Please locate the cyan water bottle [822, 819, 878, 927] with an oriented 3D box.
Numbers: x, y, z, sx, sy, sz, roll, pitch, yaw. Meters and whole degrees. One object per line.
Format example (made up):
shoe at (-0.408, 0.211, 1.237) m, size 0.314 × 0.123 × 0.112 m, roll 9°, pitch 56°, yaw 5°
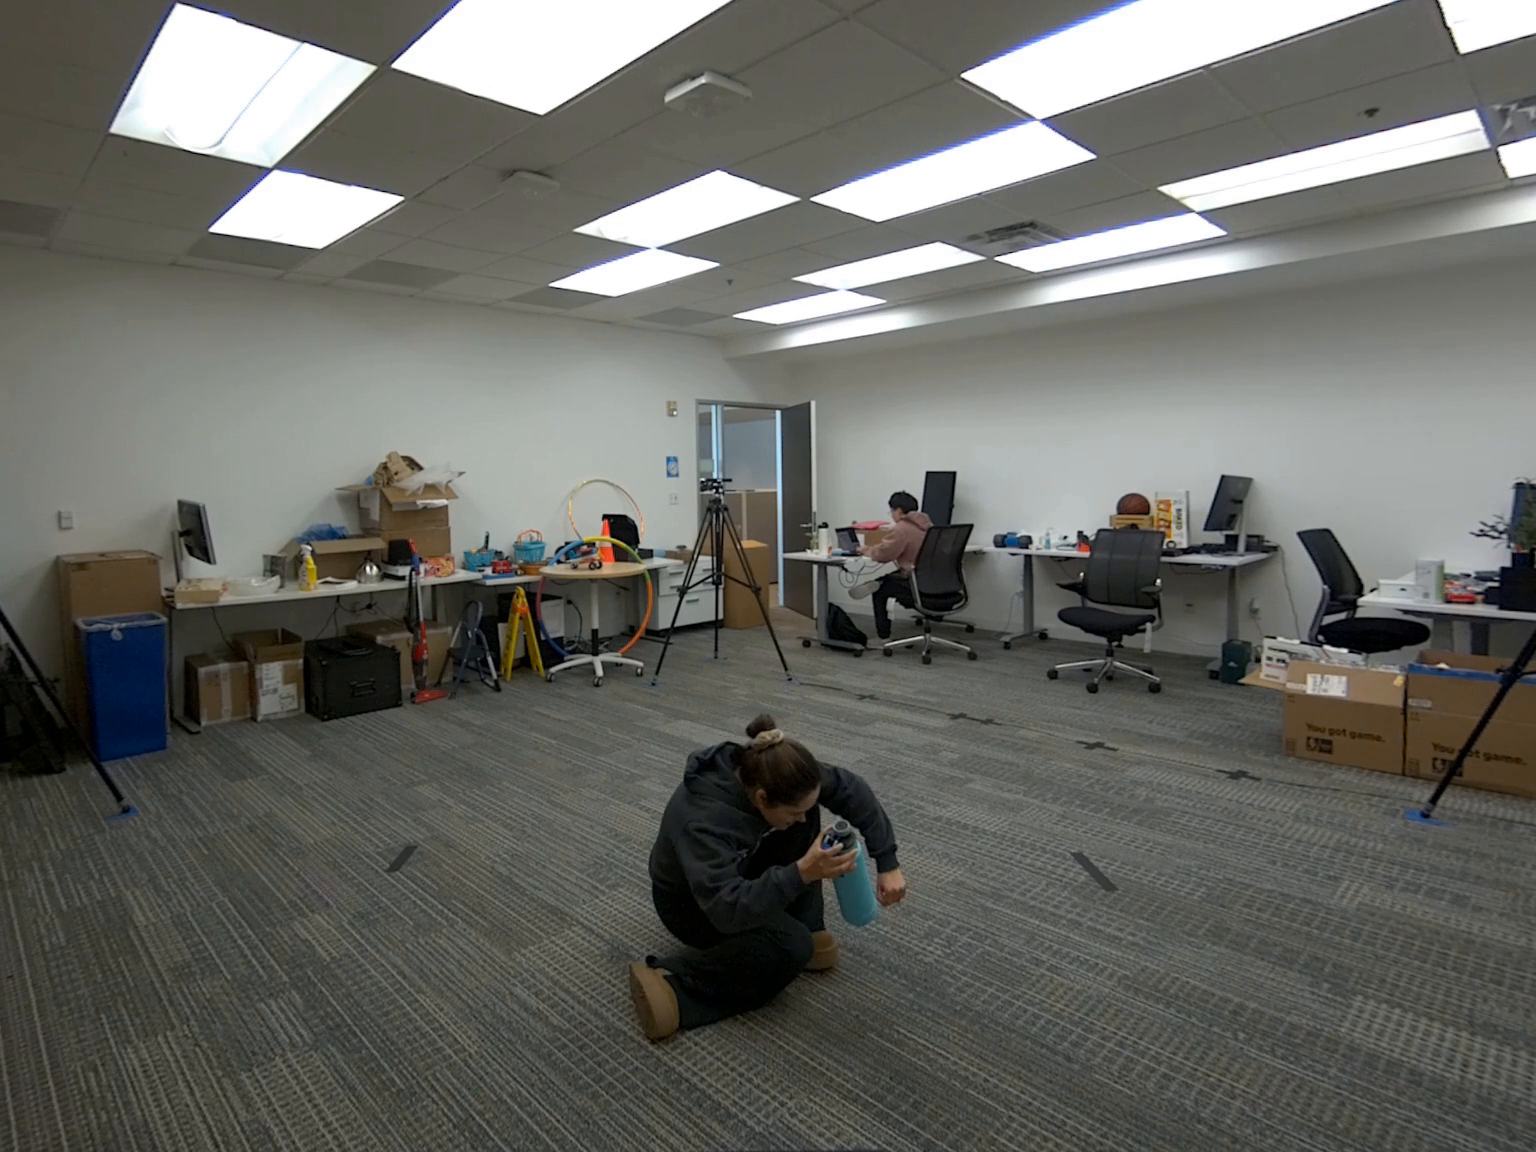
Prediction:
cyan water bottle at (0.189, 0.713, 2.067) m, size 0.092 × 0.276 × 0.094 m, roll -10°, pitch 26°, yaw 4°
